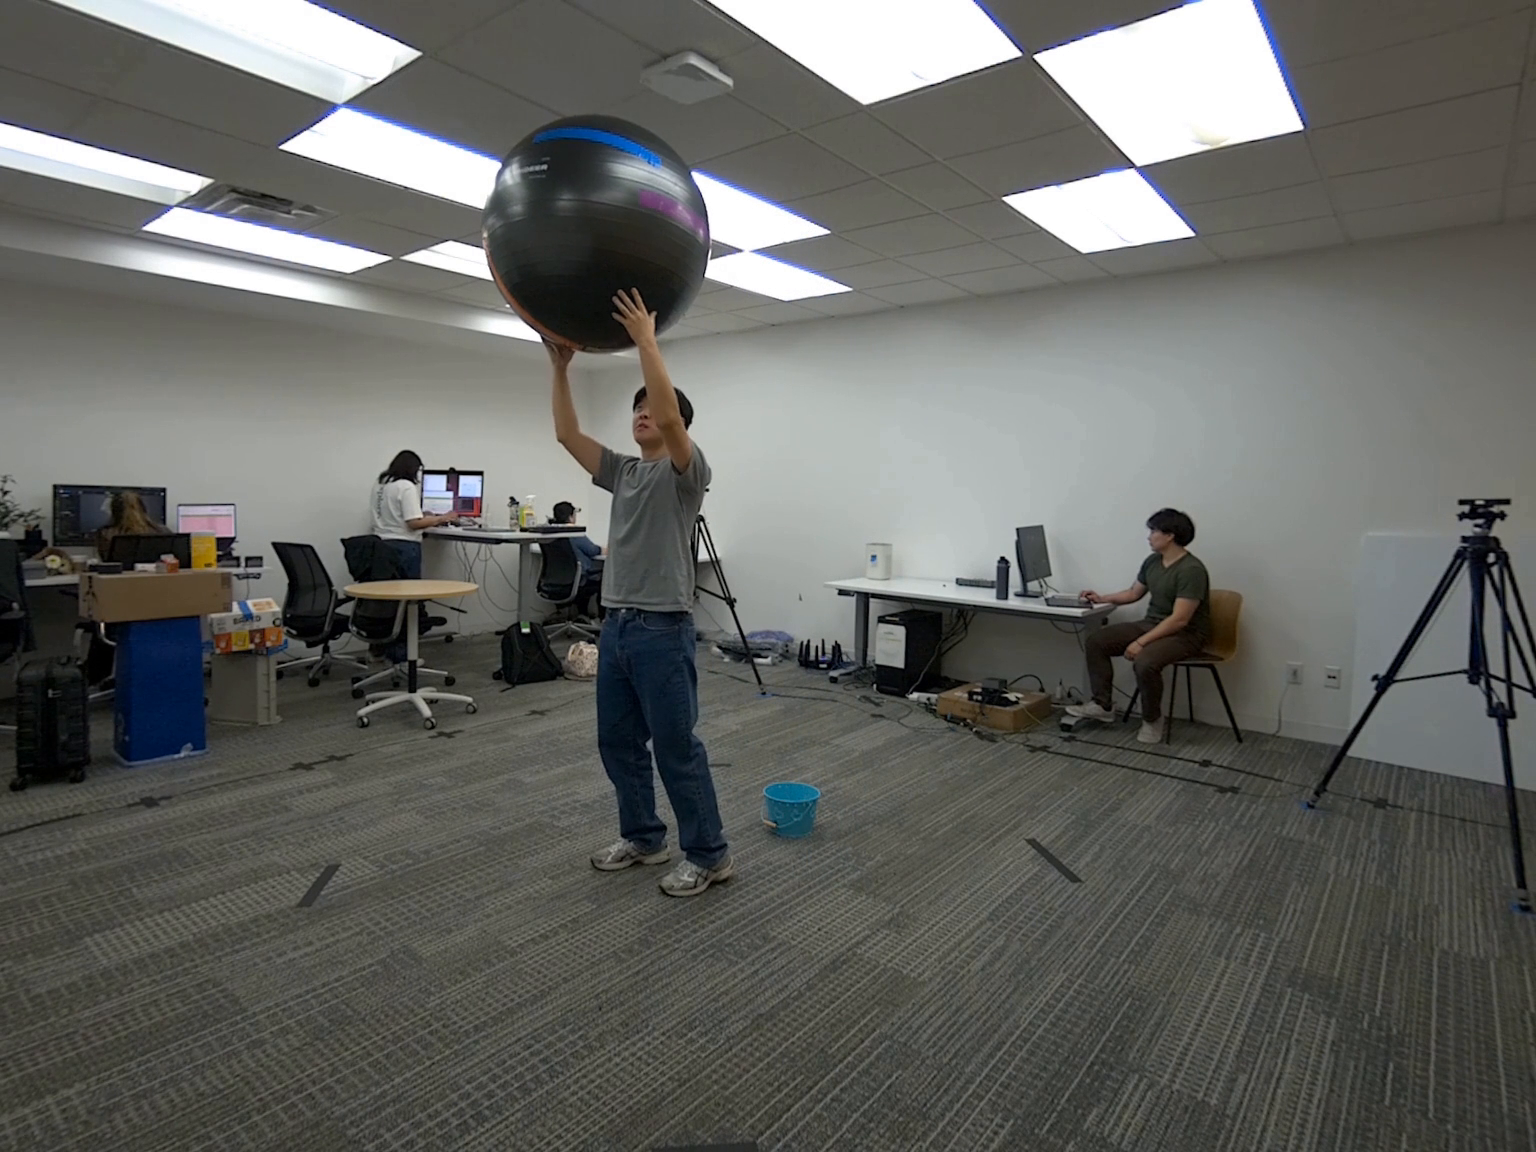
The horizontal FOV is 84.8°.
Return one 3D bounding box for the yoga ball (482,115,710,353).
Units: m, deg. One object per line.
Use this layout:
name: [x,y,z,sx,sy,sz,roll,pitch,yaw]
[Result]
yoga ball: [-0.589,-1.140,2.878,0.757,0.756,0.761,1,4,-2]
